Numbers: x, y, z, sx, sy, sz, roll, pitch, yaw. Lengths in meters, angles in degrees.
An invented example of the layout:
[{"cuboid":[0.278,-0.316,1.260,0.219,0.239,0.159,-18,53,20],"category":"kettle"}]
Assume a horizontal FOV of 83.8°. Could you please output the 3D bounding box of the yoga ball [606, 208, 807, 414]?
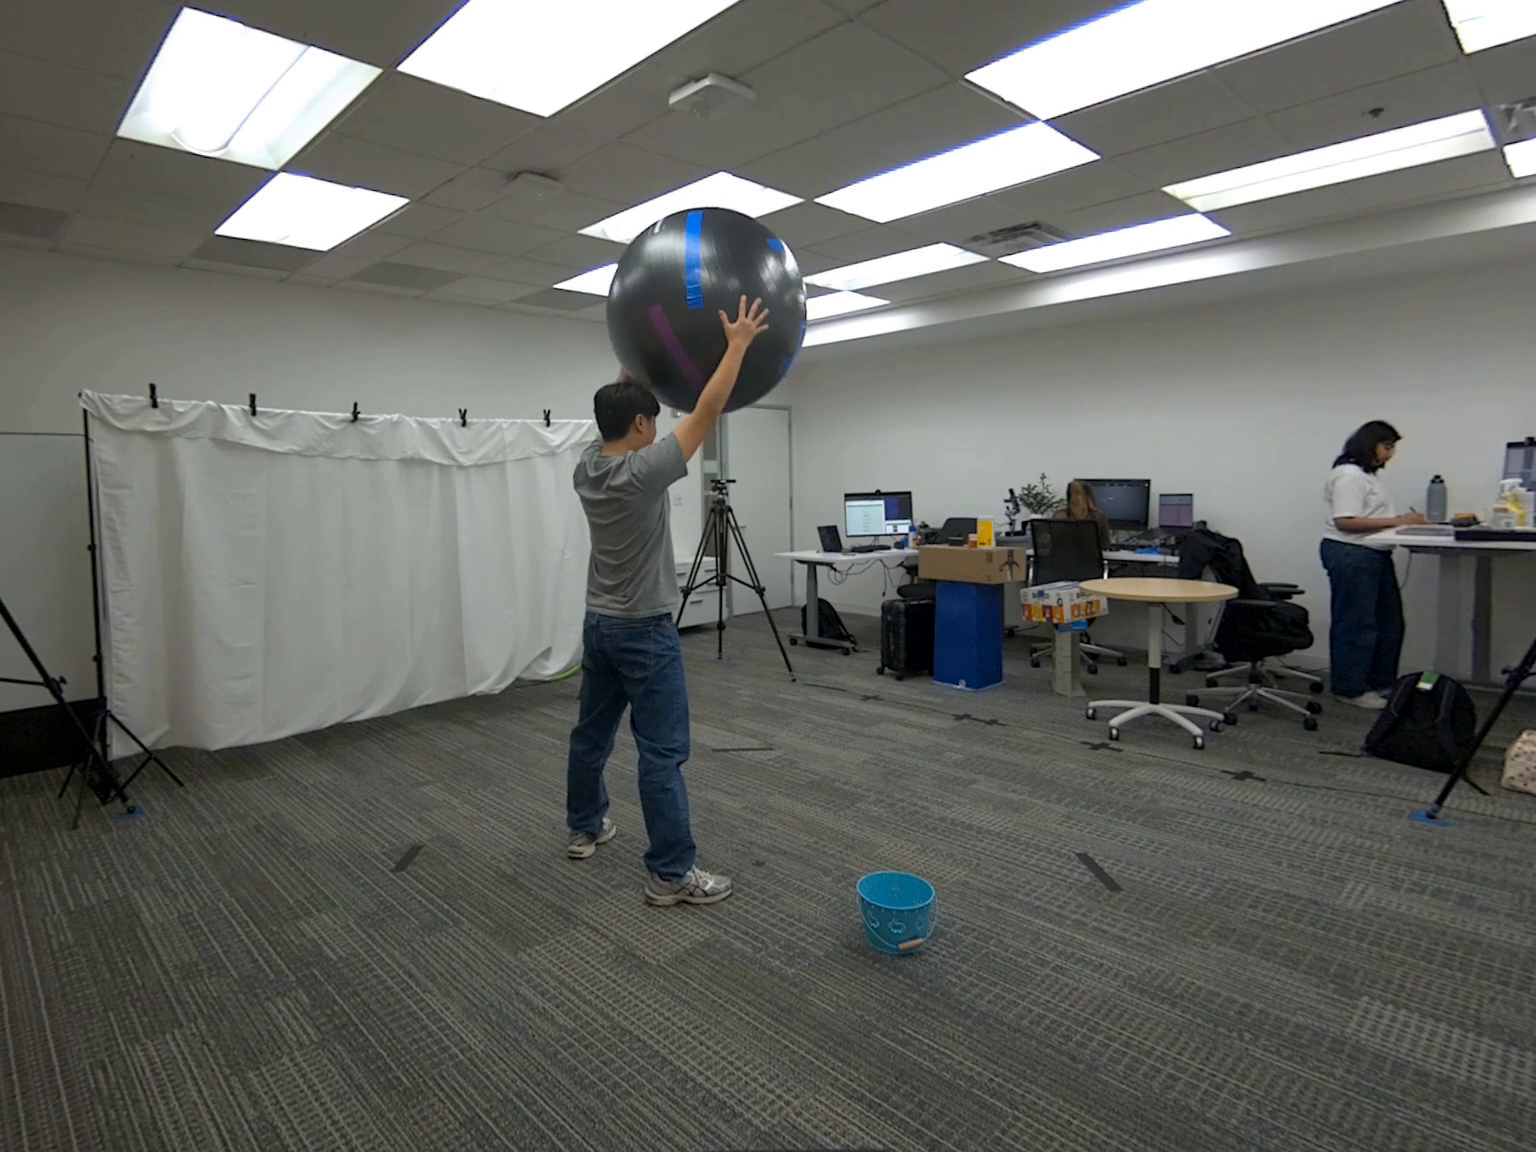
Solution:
[{"cuboid":[-0.221,-0.967,3.230,0.757,0.755,0.762,-1,5,-2],"category":"yoga ball"}]
